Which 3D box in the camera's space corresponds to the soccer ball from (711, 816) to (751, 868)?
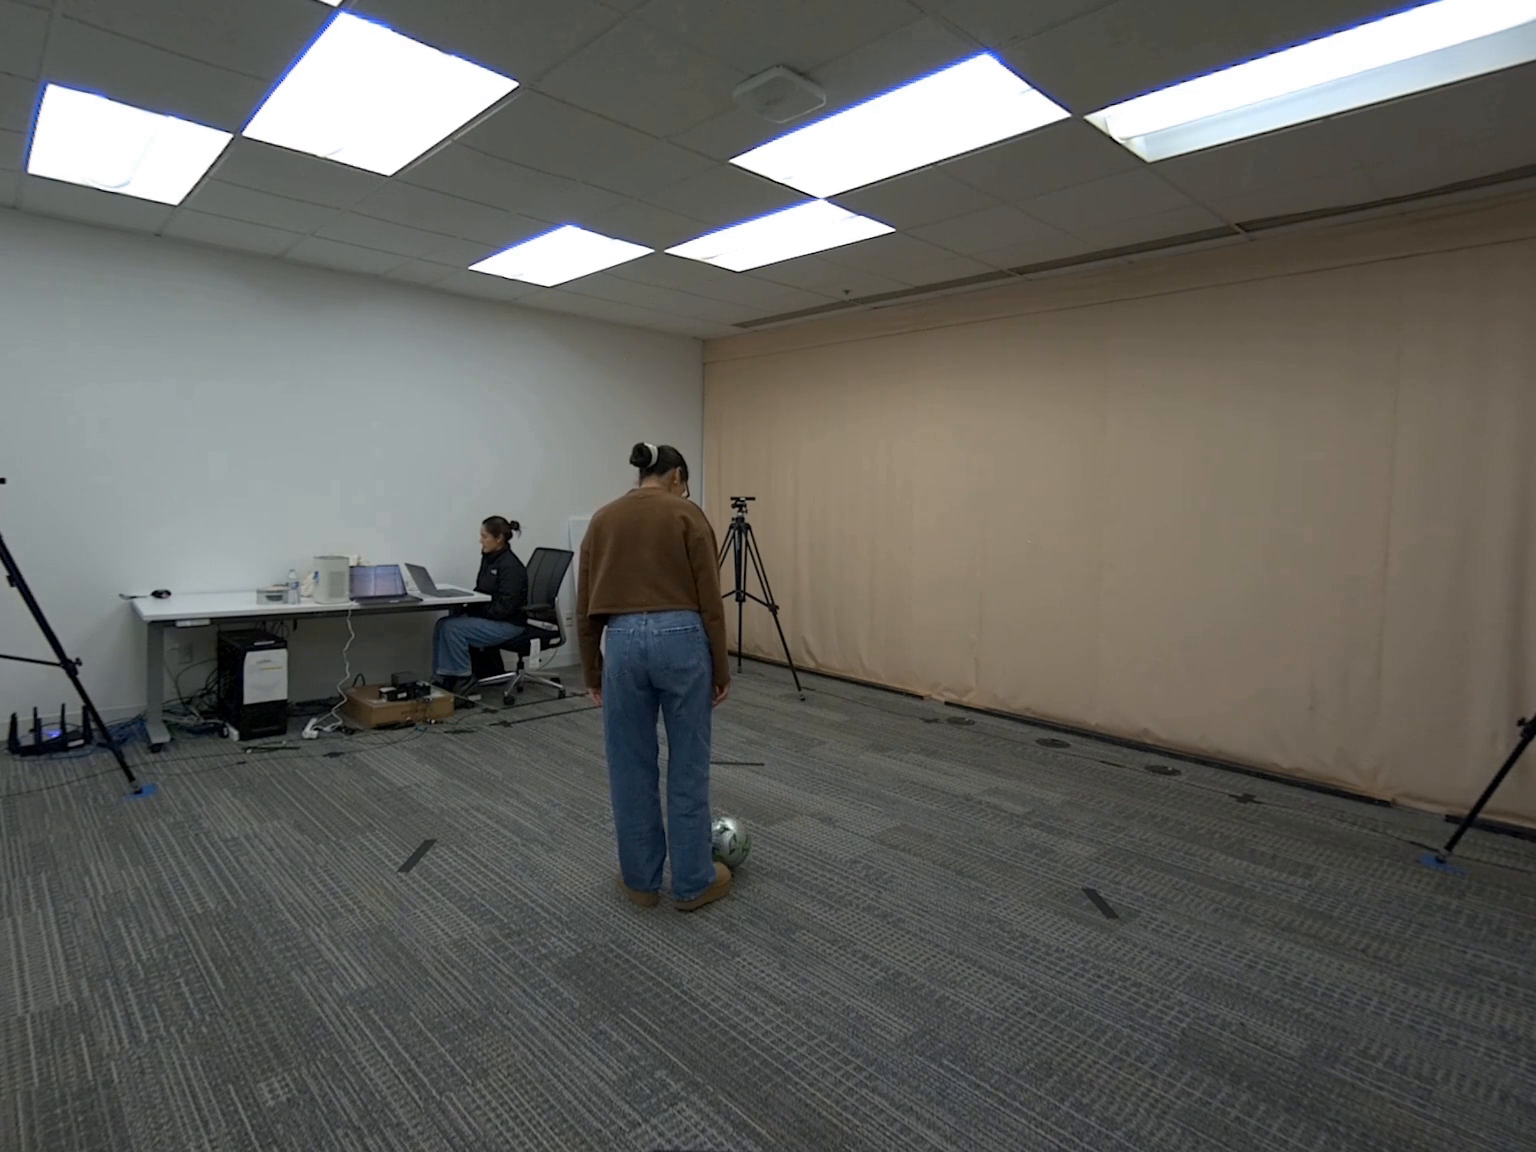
[{"bbox_3d":[-0.164,1.003,3.140,0.187,0.187,0.188,1,4,-1],"label":"soccer ball"}]
